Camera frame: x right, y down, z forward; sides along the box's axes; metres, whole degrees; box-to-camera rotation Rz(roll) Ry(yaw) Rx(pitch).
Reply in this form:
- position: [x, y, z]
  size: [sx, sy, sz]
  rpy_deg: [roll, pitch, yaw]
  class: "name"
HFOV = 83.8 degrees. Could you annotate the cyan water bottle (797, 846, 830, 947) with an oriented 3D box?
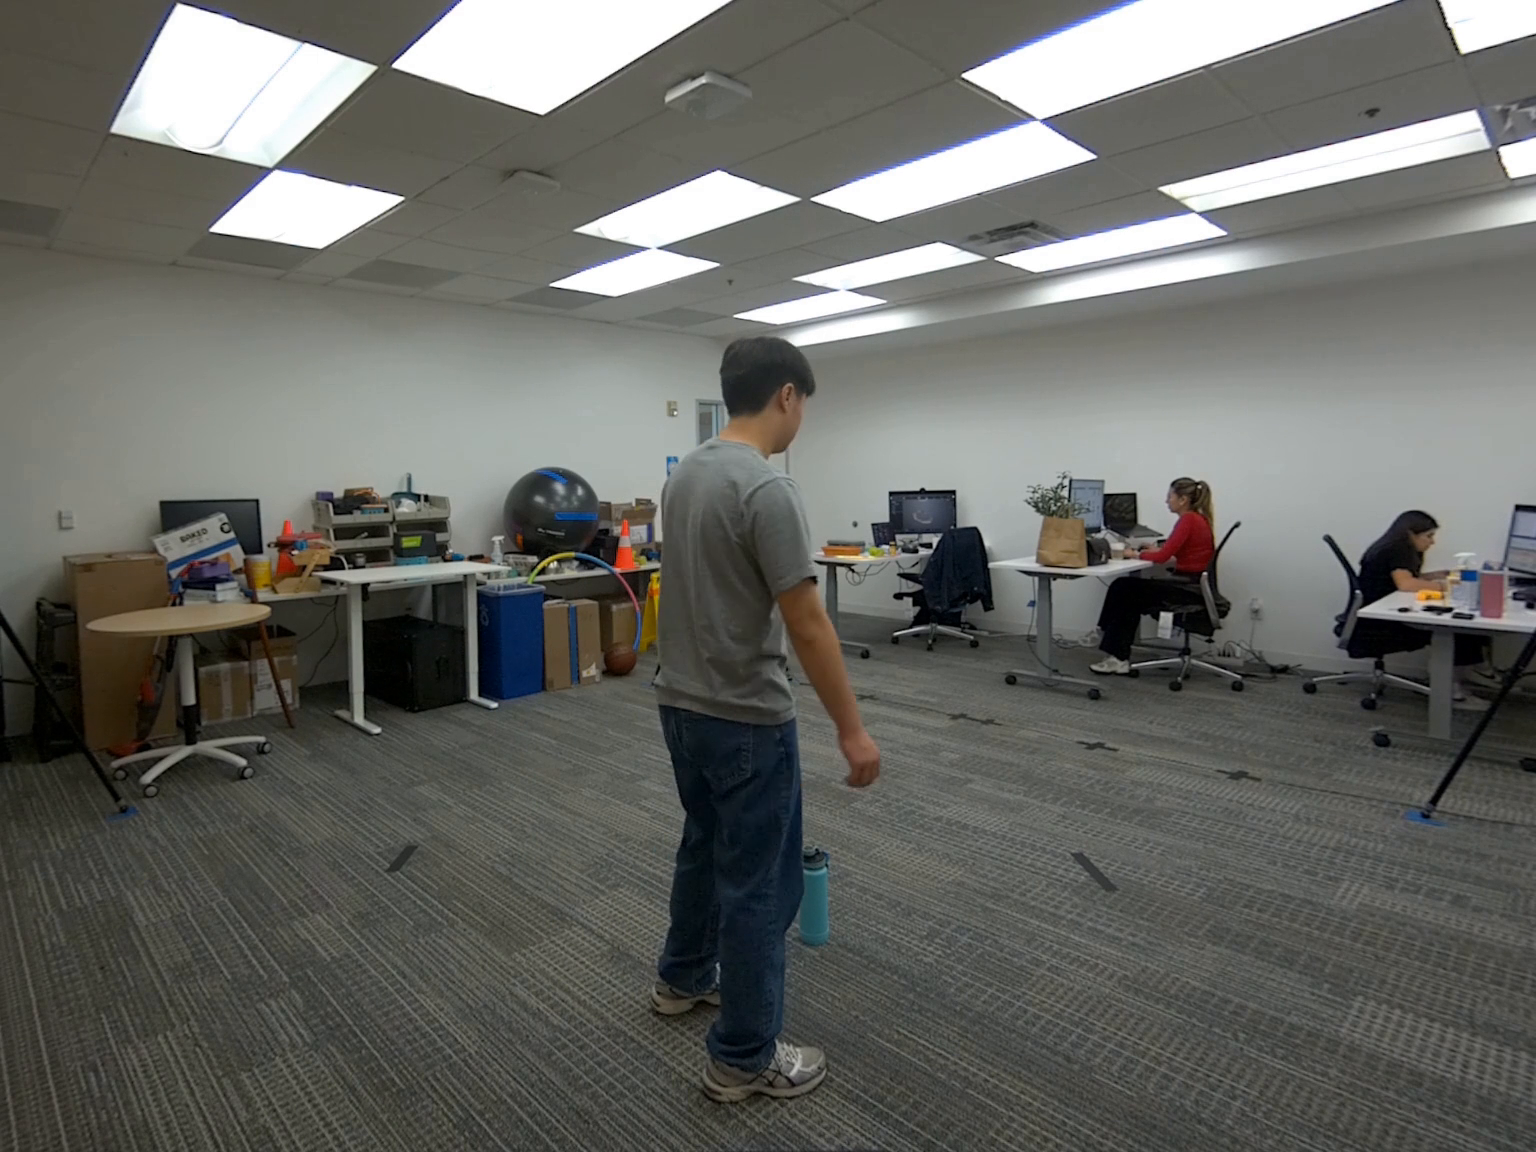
- position: [0.147, 0.961, 2.590]
  size: [0.092, 0.283, 0.092]
  rpy_deg: [-1, 2, -2]
  class: "cyan water bottle"
